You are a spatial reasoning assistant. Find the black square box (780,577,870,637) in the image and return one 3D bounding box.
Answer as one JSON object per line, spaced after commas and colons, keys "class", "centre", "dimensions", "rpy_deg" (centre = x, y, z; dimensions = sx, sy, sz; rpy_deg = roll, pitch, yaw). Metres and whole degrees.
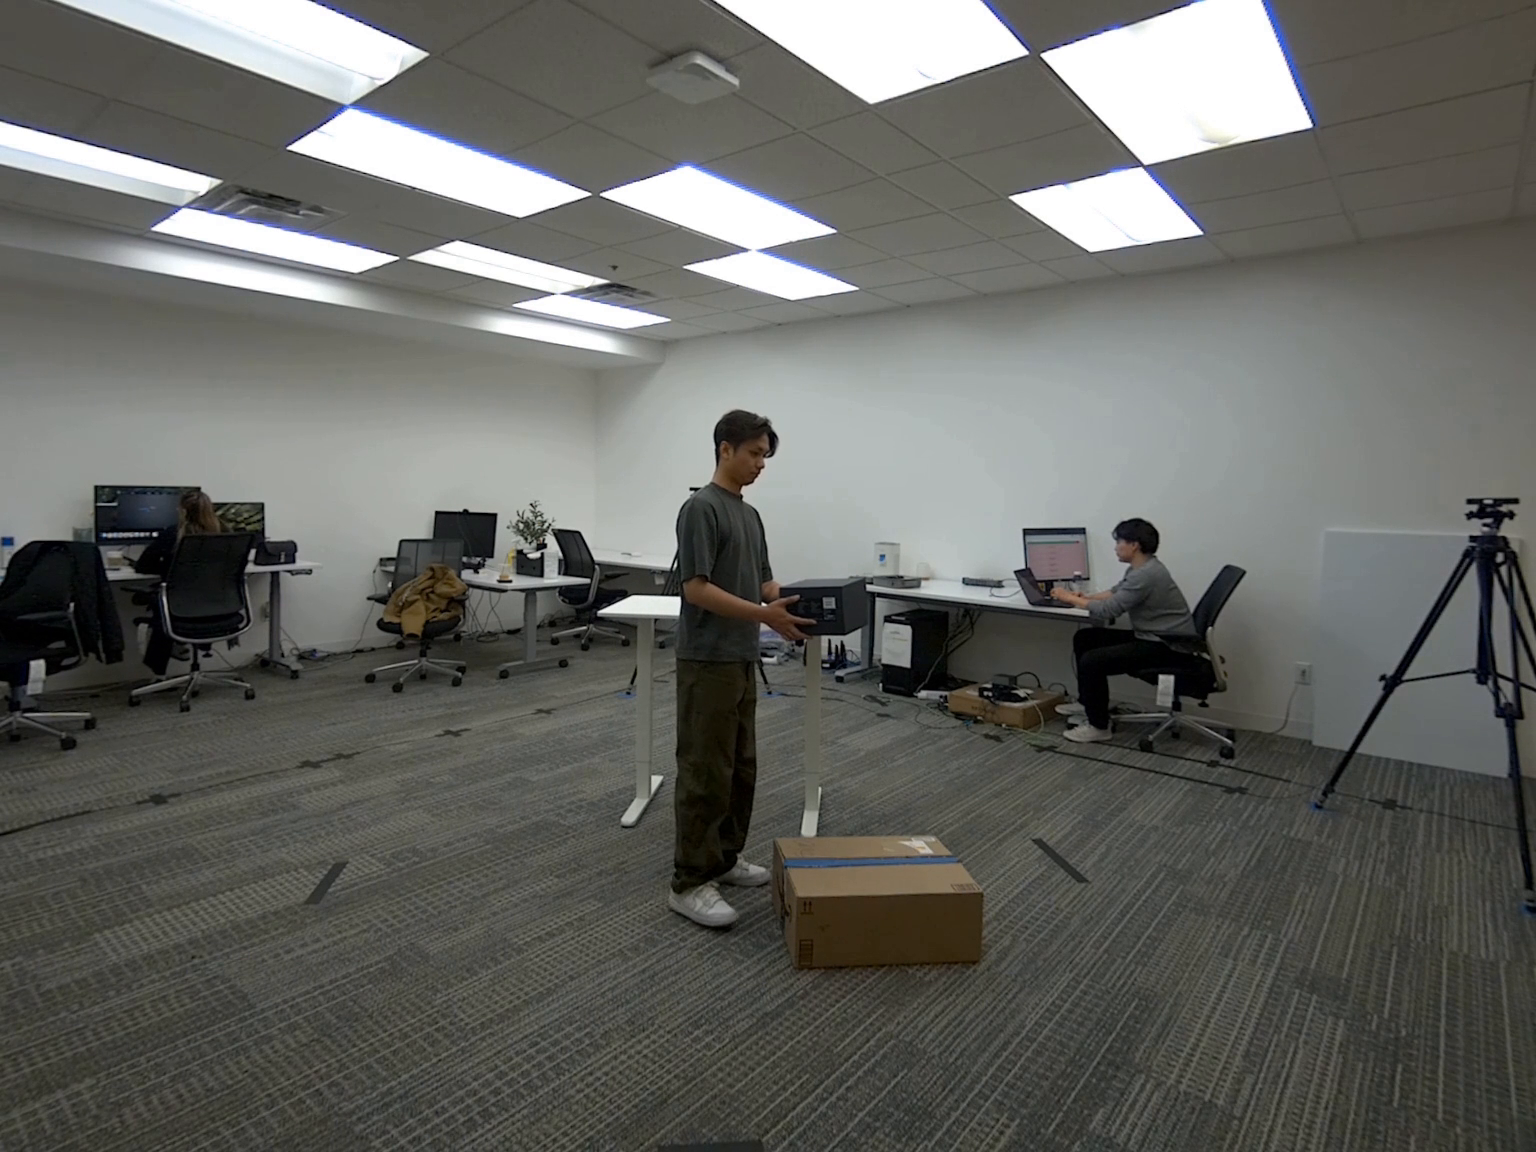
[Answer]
{"class": "black square box", "centre": [0.180, 0.095, 2.748], "dimensions": [0.222, 0.155, 0.223], "rpy_deg": [-2, 4, 27]}
